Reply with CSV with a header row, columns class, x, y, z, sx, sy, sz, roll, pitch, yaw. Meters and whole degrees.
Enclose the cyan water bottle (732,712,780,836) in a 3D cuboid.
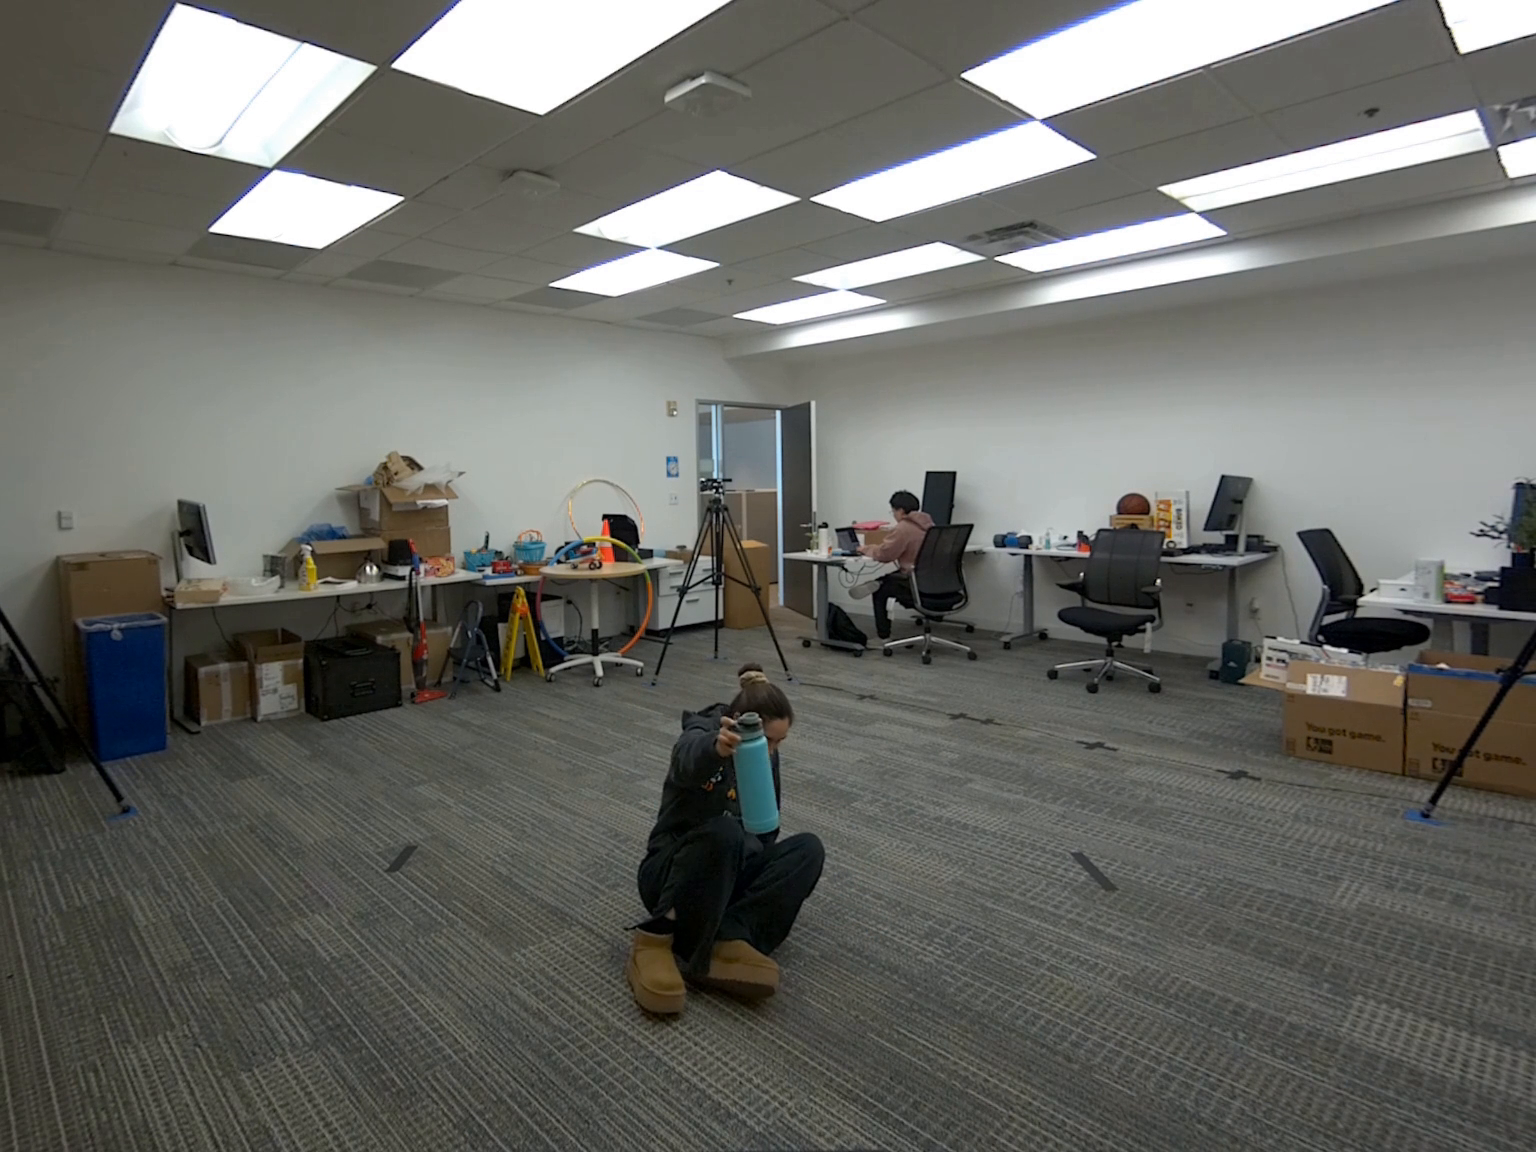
class,x,y,z,sx,sy,sz,roll,pitch,yaw
cyan water bottle,-0.032,0.482,2.085,0.092,0.282,0.093,-8,4,-1
